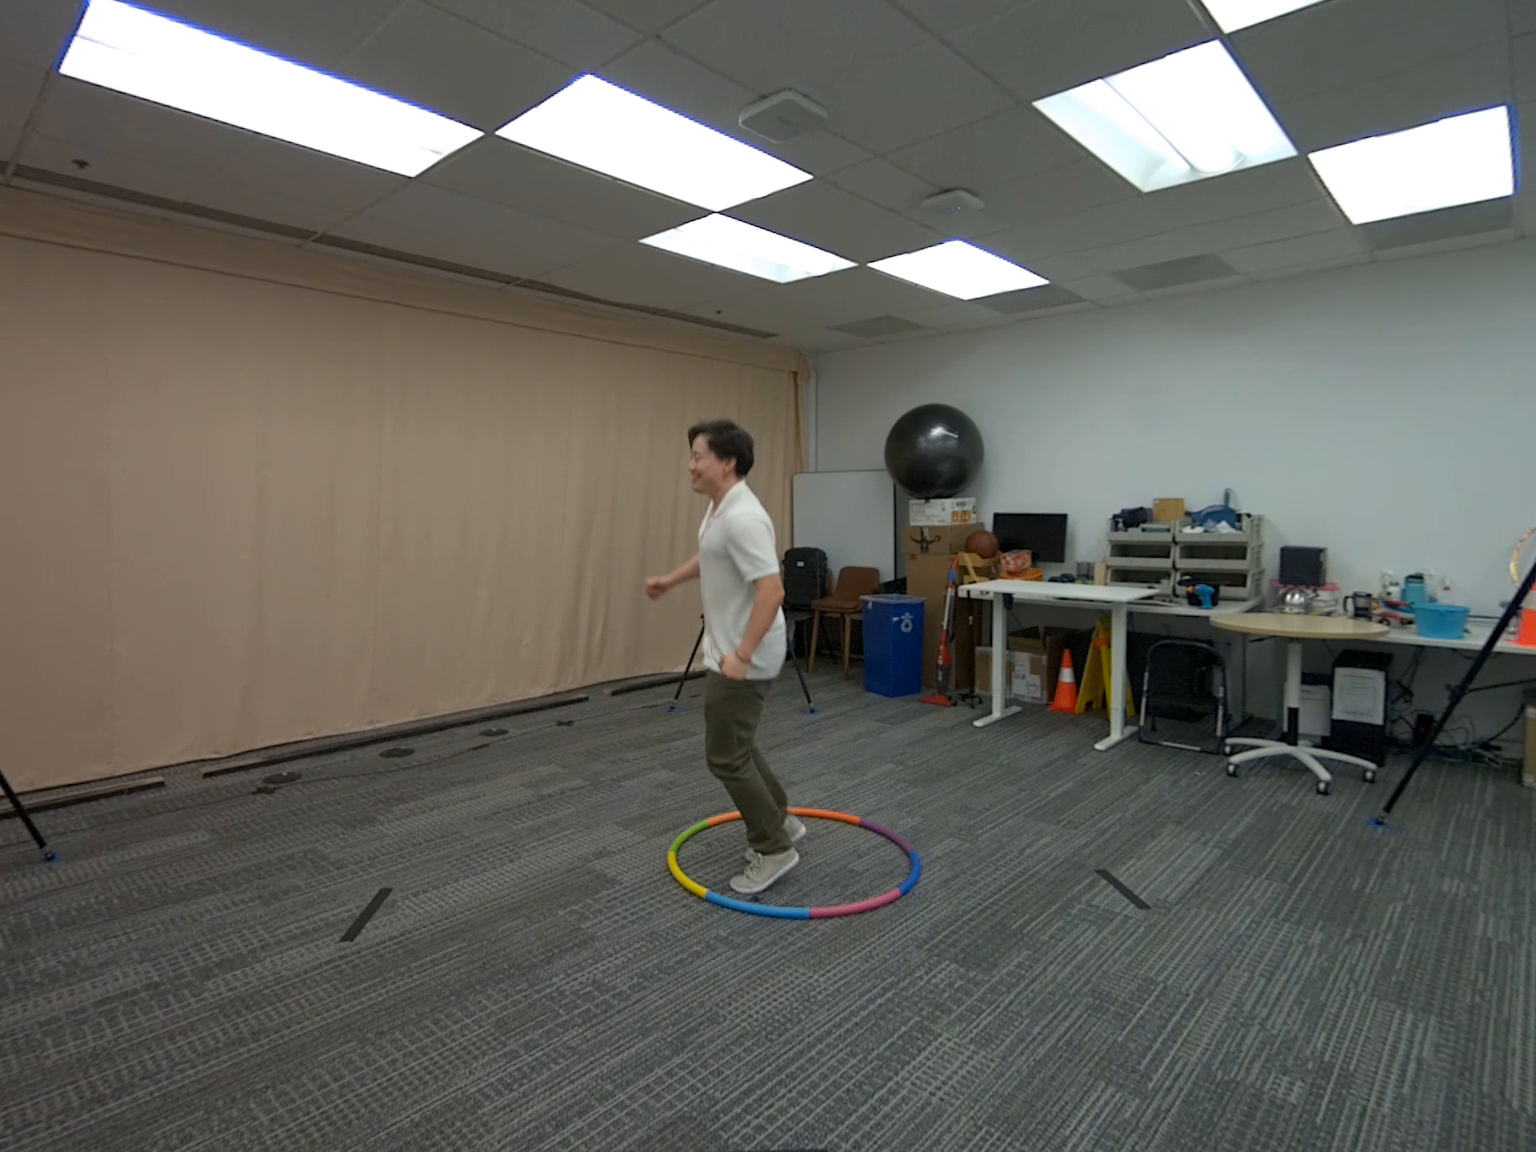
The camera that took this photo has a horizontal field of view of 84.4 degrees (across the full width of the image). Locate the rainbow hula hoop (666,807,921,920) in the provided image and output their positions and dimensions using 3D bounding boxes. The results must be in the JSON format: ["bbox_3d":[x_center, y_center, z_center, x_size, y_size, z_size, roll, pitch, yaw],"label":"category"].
[{"bbox_3d":[0.095,1.087,3.316,0.978,0.035,0.982,0,5,-2],"label":"rainbow hula hoop"}]
